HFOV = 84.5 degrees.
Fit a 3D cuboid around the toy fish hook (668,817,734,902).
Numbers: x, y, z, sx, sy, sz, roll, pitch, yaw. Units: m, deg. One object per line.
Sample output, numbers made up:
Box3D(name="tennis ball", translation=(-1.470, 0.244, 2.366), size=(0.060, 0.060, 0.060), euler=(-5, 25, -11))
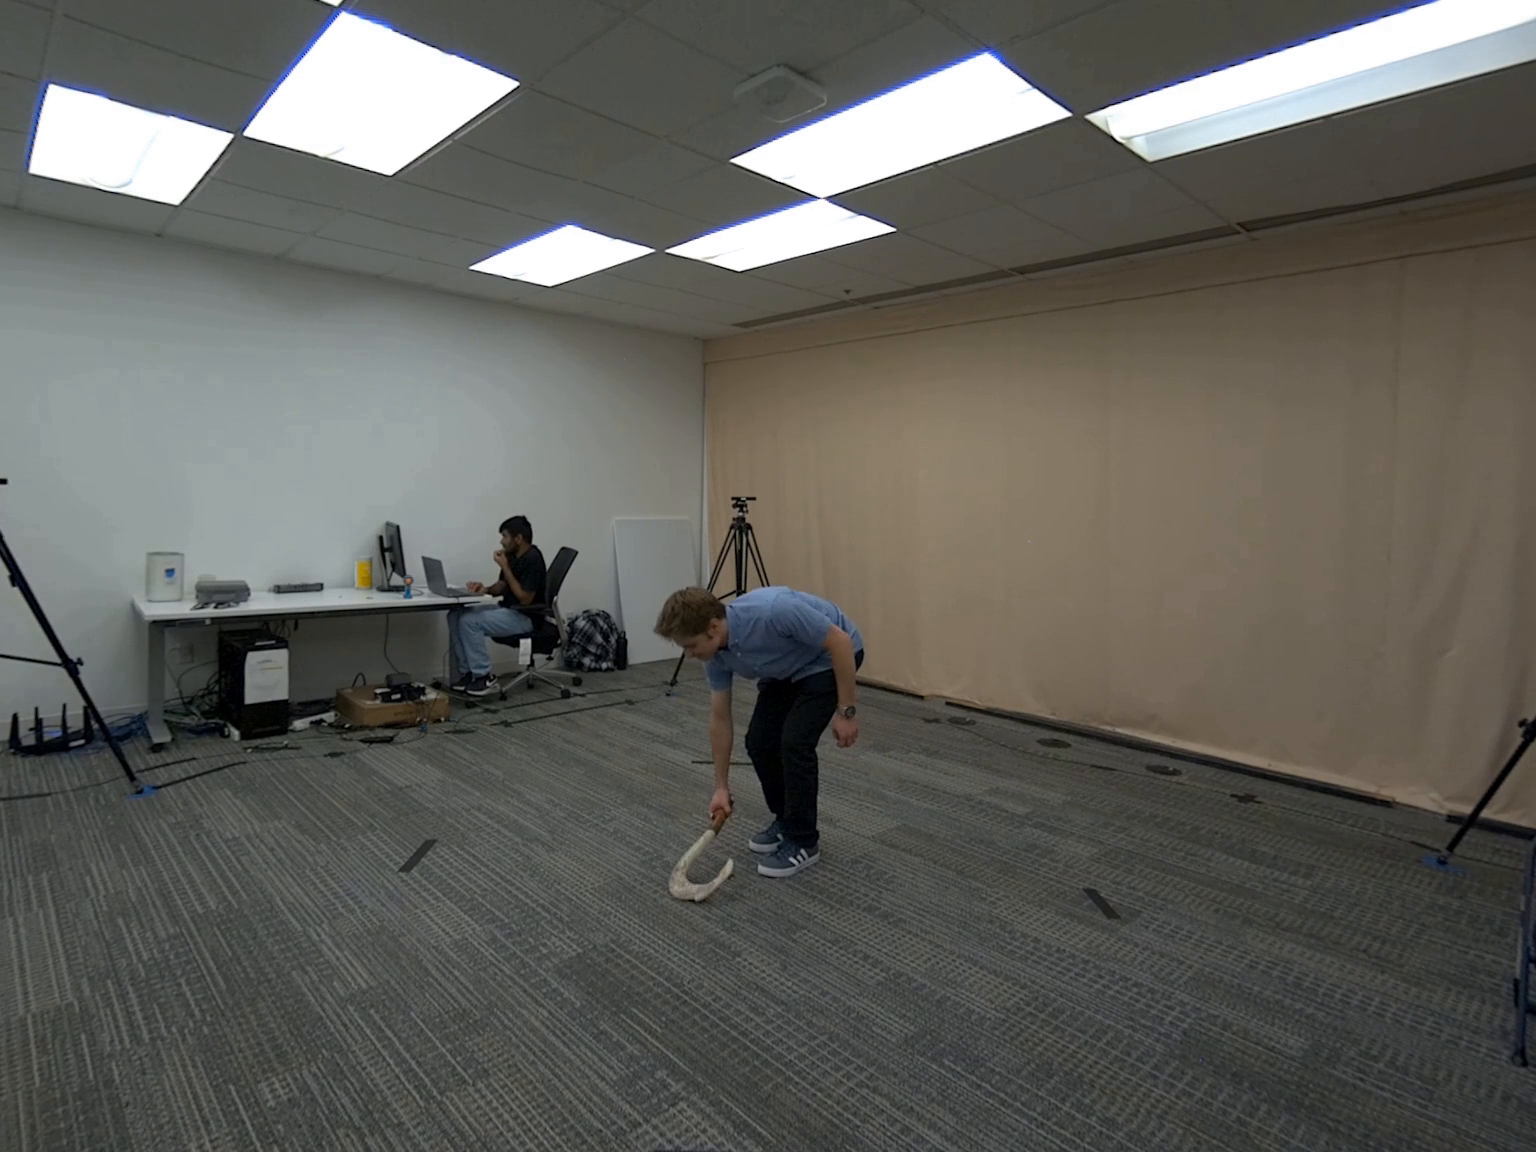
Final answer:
Box3D(name="toy fish hook", translation=(-0.213, 0.987, 3.091), size=(0.228, 0.047, 0.508), euler=(-3, 28, 23))
